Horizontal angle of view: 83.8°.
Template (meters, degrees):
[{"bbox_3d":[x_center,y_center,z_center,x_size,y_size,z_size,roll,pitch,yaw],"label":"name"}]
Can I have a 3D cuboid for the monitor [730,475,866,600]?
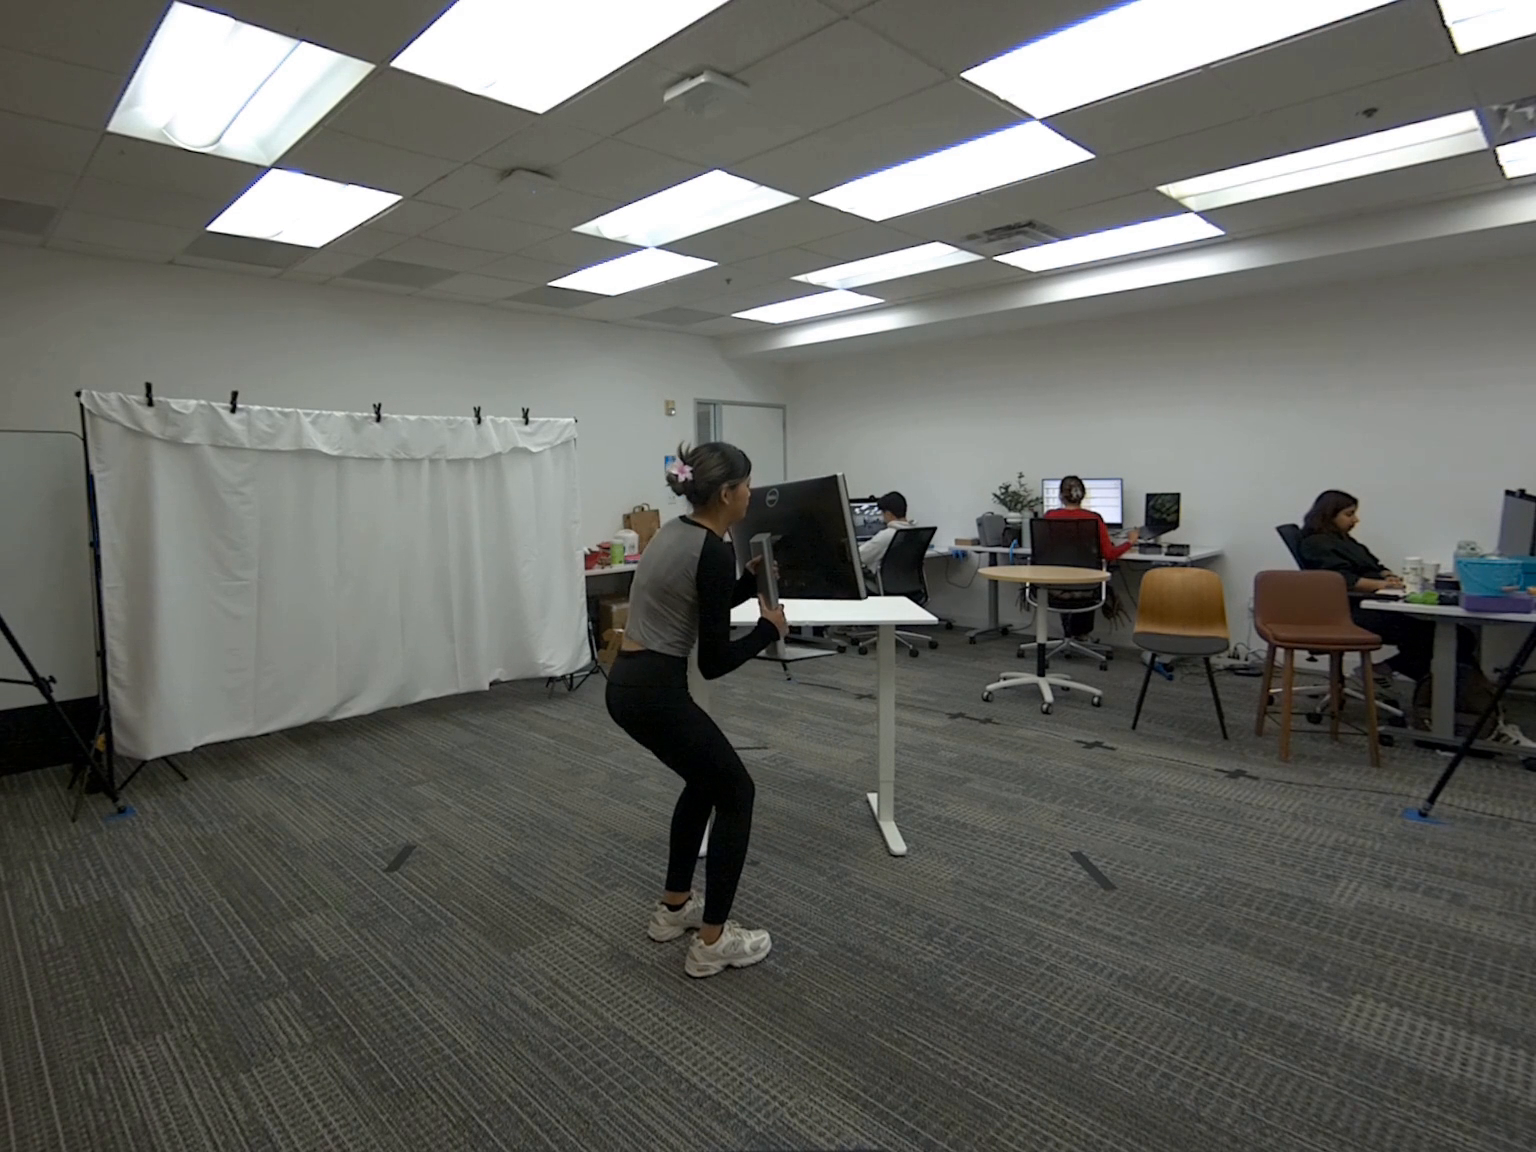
[{"bbox_3d":[0.052,-0.018,2.578,0.182,0.523,0.554,-2,0,-39],"label":"monitor"}]
